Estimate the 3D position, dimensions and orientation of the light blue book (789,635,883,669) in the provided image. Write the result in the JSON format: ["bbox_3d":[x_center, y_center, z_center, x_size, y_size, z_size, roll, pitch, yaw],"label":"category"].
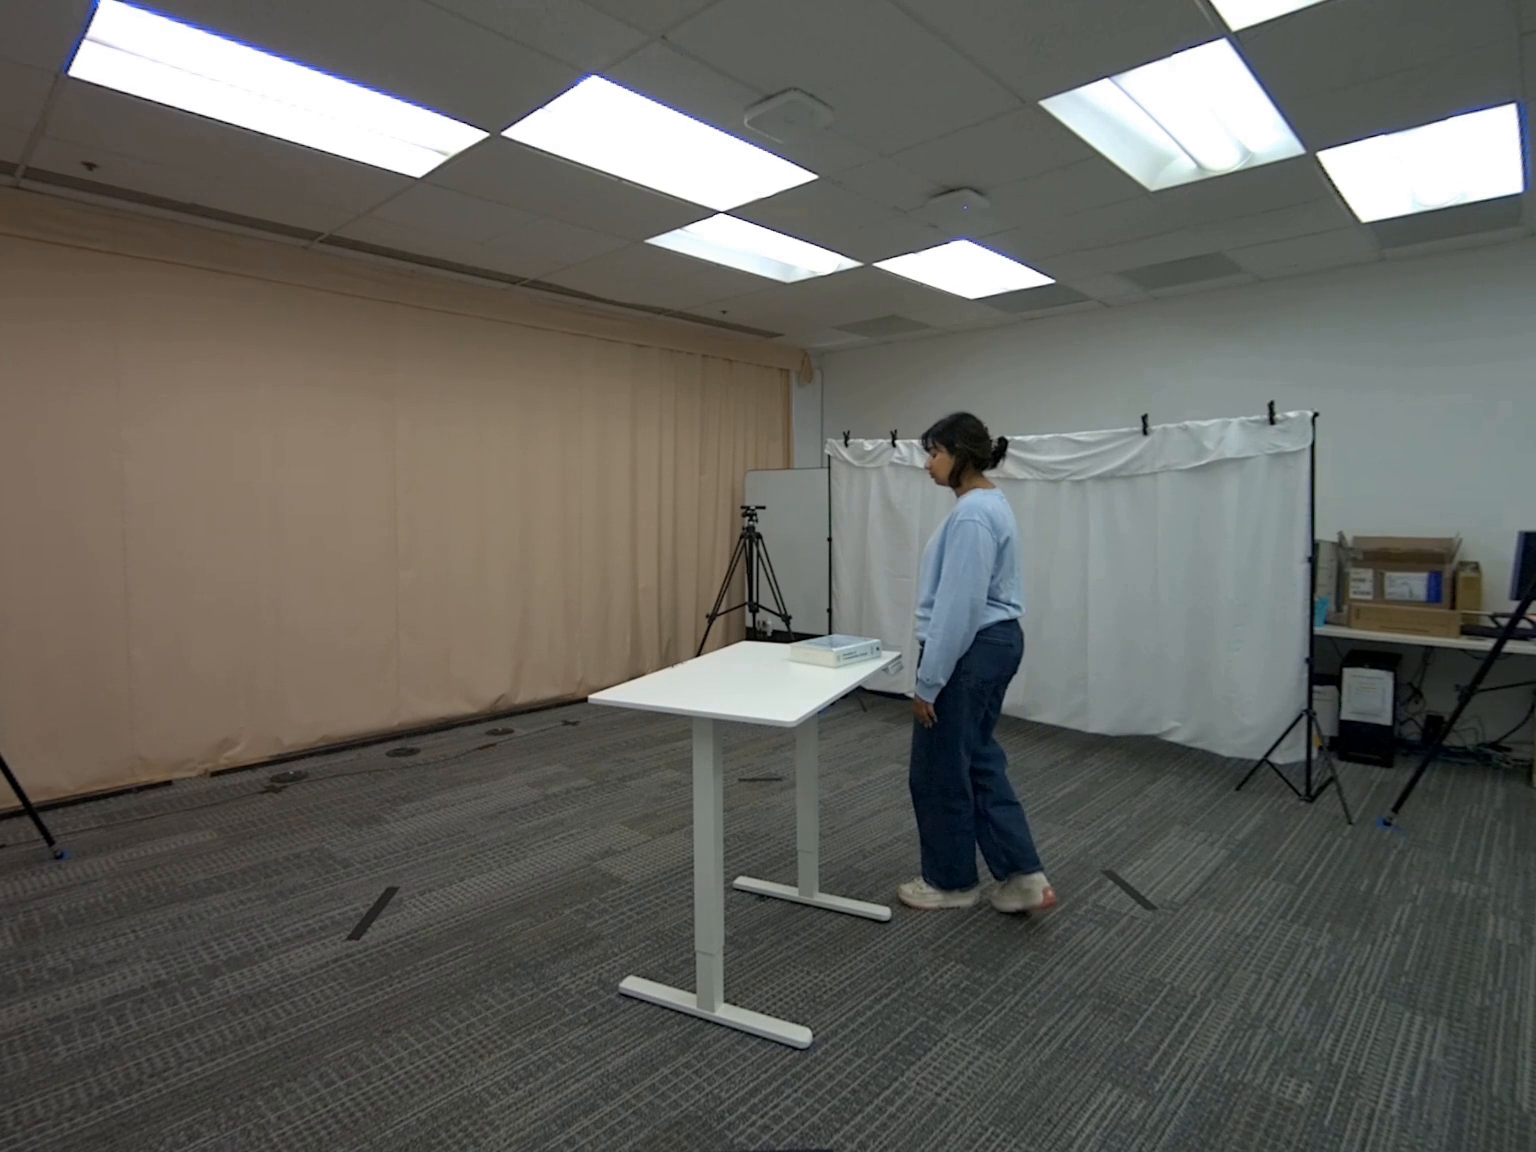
[{"bbox_3d":[0.223,0.248,2.776,0.198,0.059,0.253,4,7,43],"label":"light blue book"}]
